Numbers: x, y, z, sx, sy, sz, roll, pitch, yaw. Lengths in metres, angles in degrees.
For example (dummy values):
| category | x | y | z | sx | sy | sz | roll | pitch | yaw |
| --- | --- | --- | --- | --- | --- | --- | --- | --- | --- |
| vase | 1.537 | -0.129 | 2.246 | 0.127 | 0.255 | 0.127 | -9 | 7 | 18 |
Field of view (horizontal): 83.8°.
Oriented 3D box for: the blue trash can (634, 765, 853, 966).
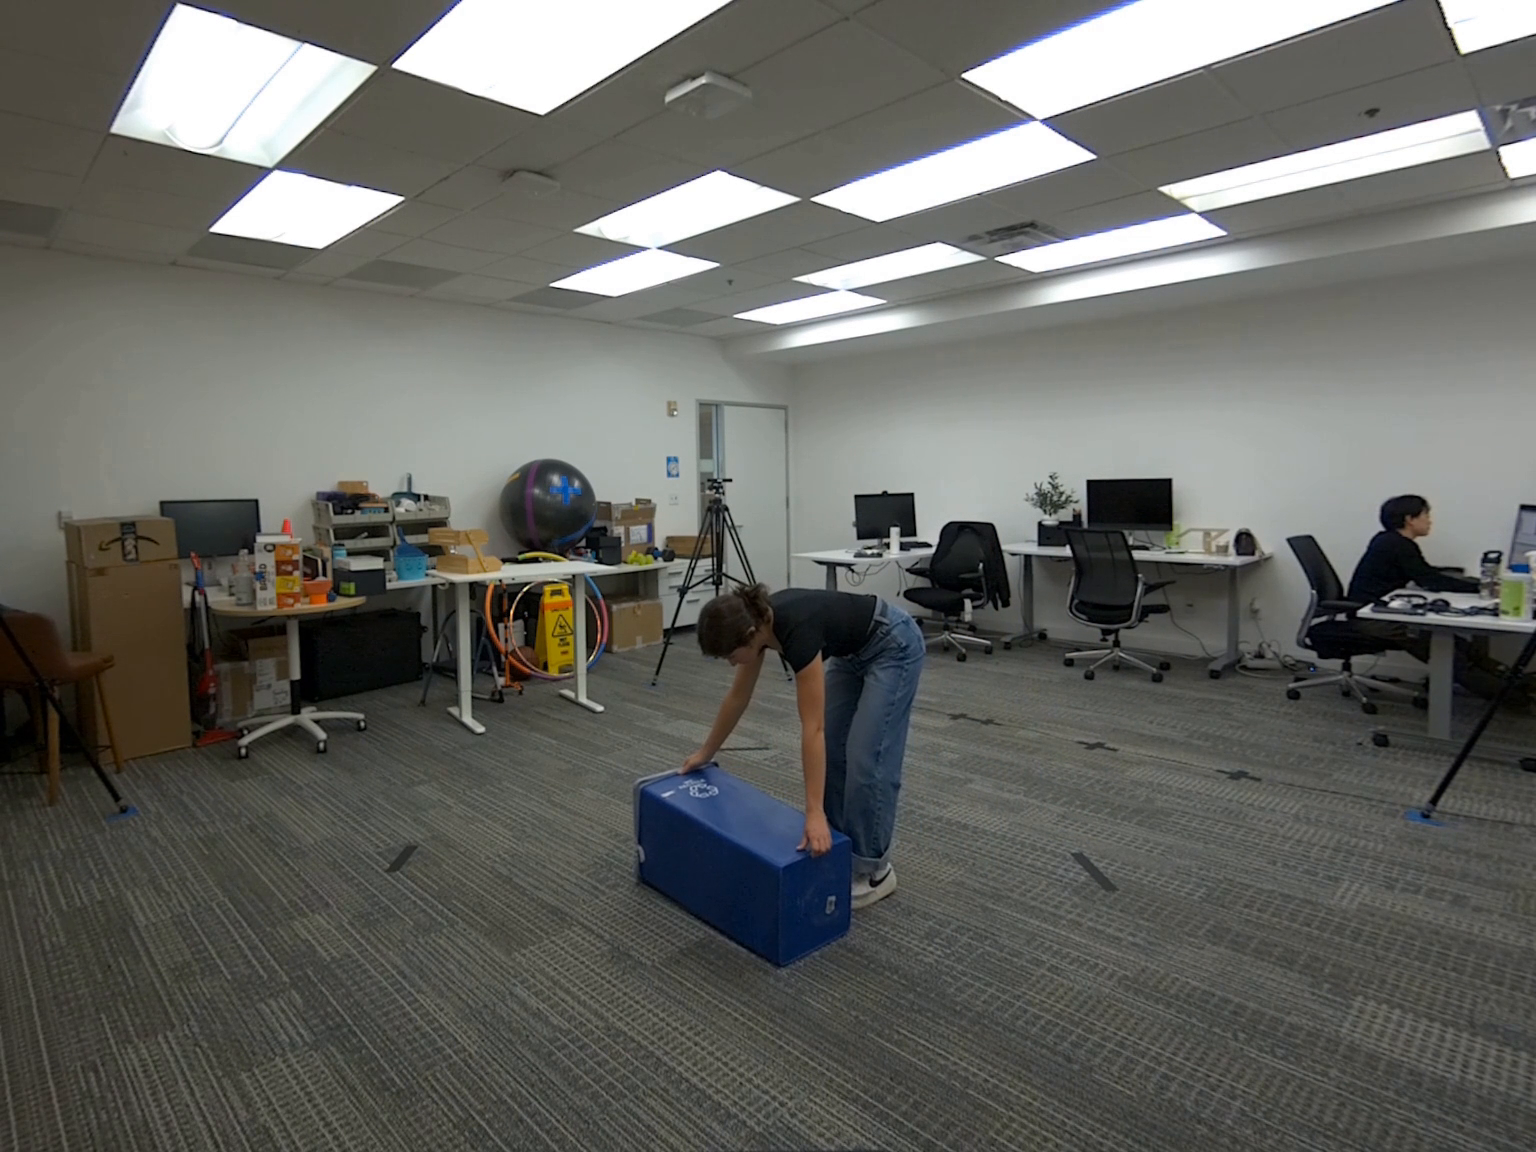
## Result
| category | x | y | z | sx | sy | sz | roll | pitch | yaw |
| --- | --- | --- | --- | --- | --- | --- | --- | --- | --- |
| blue trash can | -0.091 | 0.919 | 2.781 | 0.368 | 0.372 | 0.737 | -3 | 10 | -40 |
